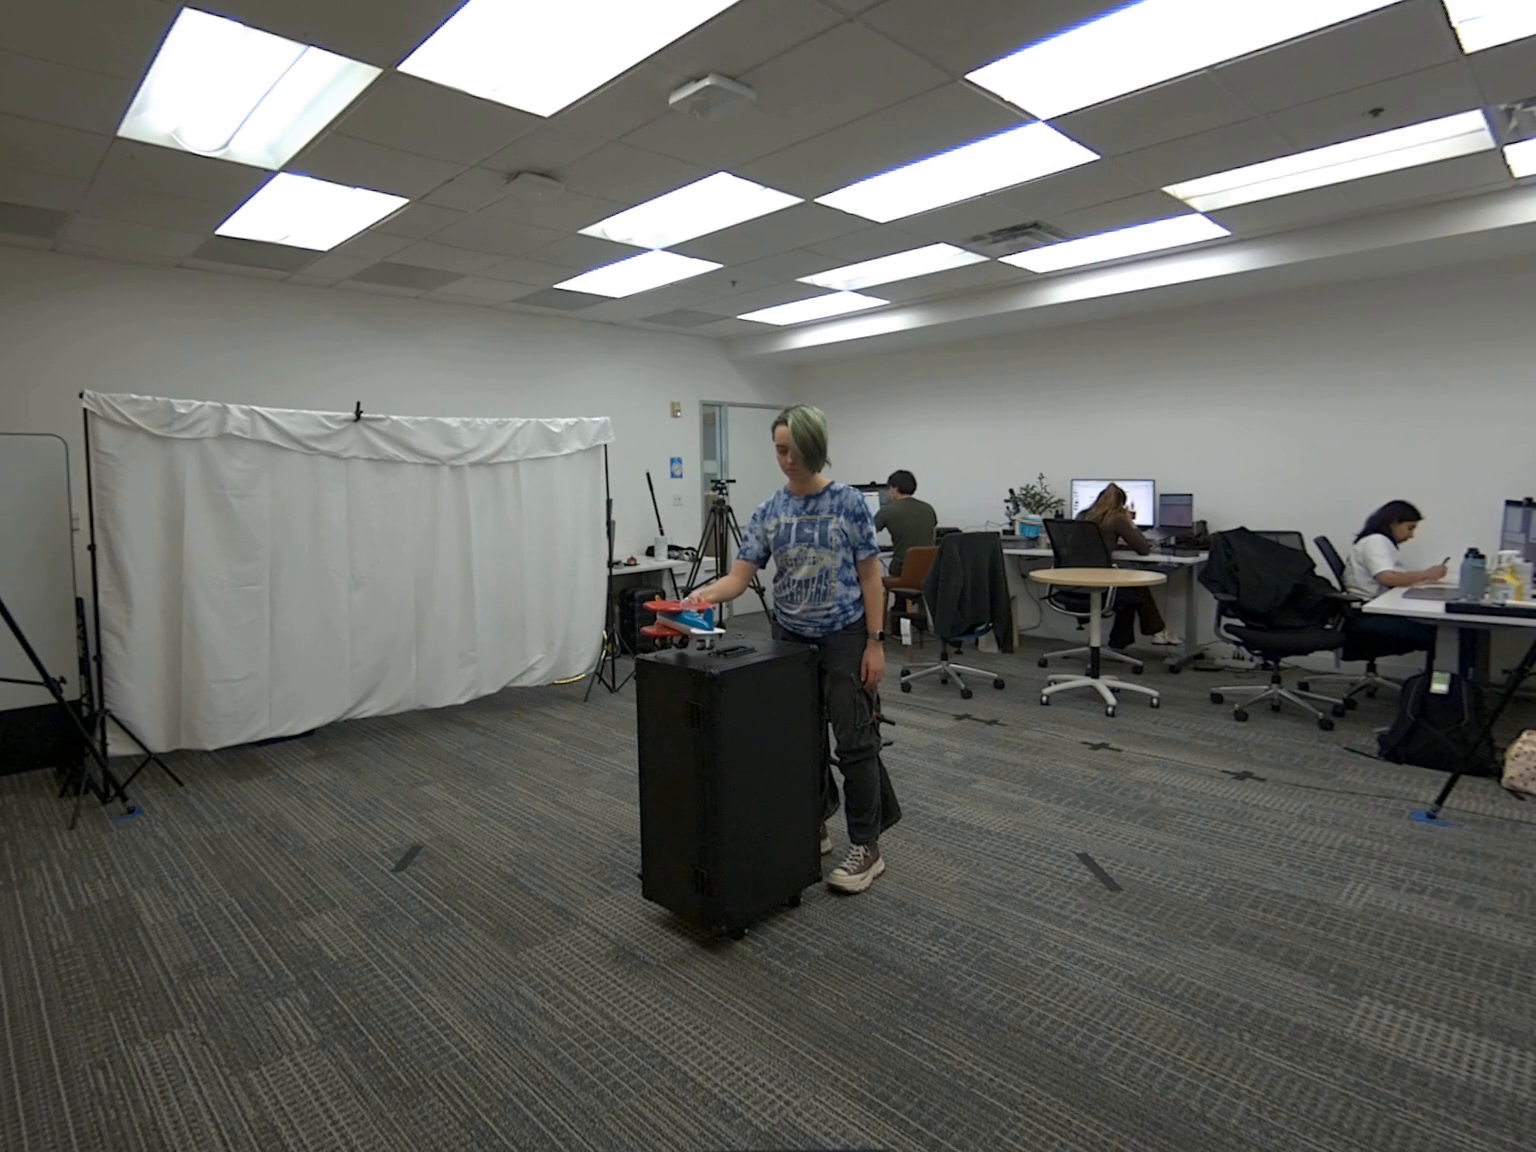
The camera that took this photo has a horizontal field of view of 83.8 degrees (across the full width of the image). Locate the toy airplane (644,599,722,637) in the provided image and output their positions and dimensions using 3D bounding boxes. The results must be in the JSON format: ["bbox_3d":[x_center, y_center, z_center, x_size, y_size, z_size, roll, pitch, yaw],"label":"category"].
[{"bbox_3d":[-0.234,0.151,2.666,0.264,0.157,0.245,-3,-4,22],"label":"toy airplane"}]
